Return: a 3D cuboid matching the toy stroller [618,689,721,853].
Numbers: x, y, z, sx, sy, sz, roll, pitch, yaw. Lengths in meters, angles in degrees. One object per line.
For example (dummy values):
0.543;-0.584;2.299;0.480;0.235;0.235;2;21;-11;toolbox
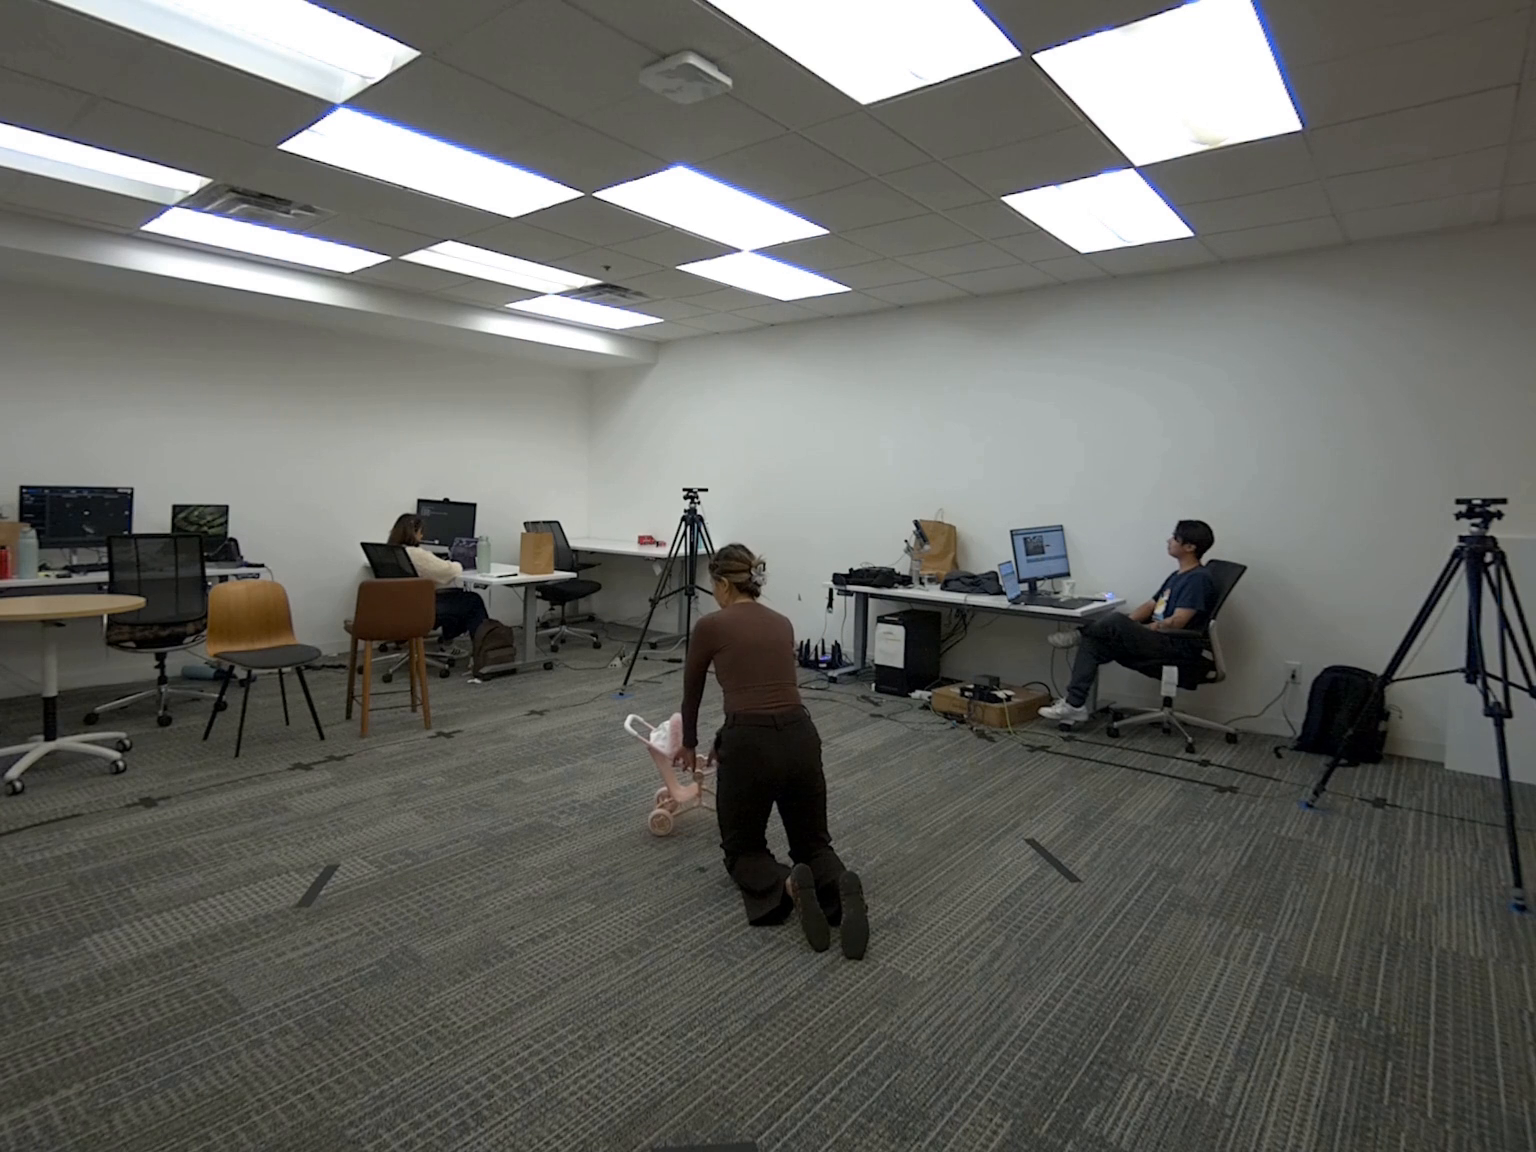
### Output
-0.366;0.799;3.503;0.343;0.533;0.281;-14;3;6;toy stroller
